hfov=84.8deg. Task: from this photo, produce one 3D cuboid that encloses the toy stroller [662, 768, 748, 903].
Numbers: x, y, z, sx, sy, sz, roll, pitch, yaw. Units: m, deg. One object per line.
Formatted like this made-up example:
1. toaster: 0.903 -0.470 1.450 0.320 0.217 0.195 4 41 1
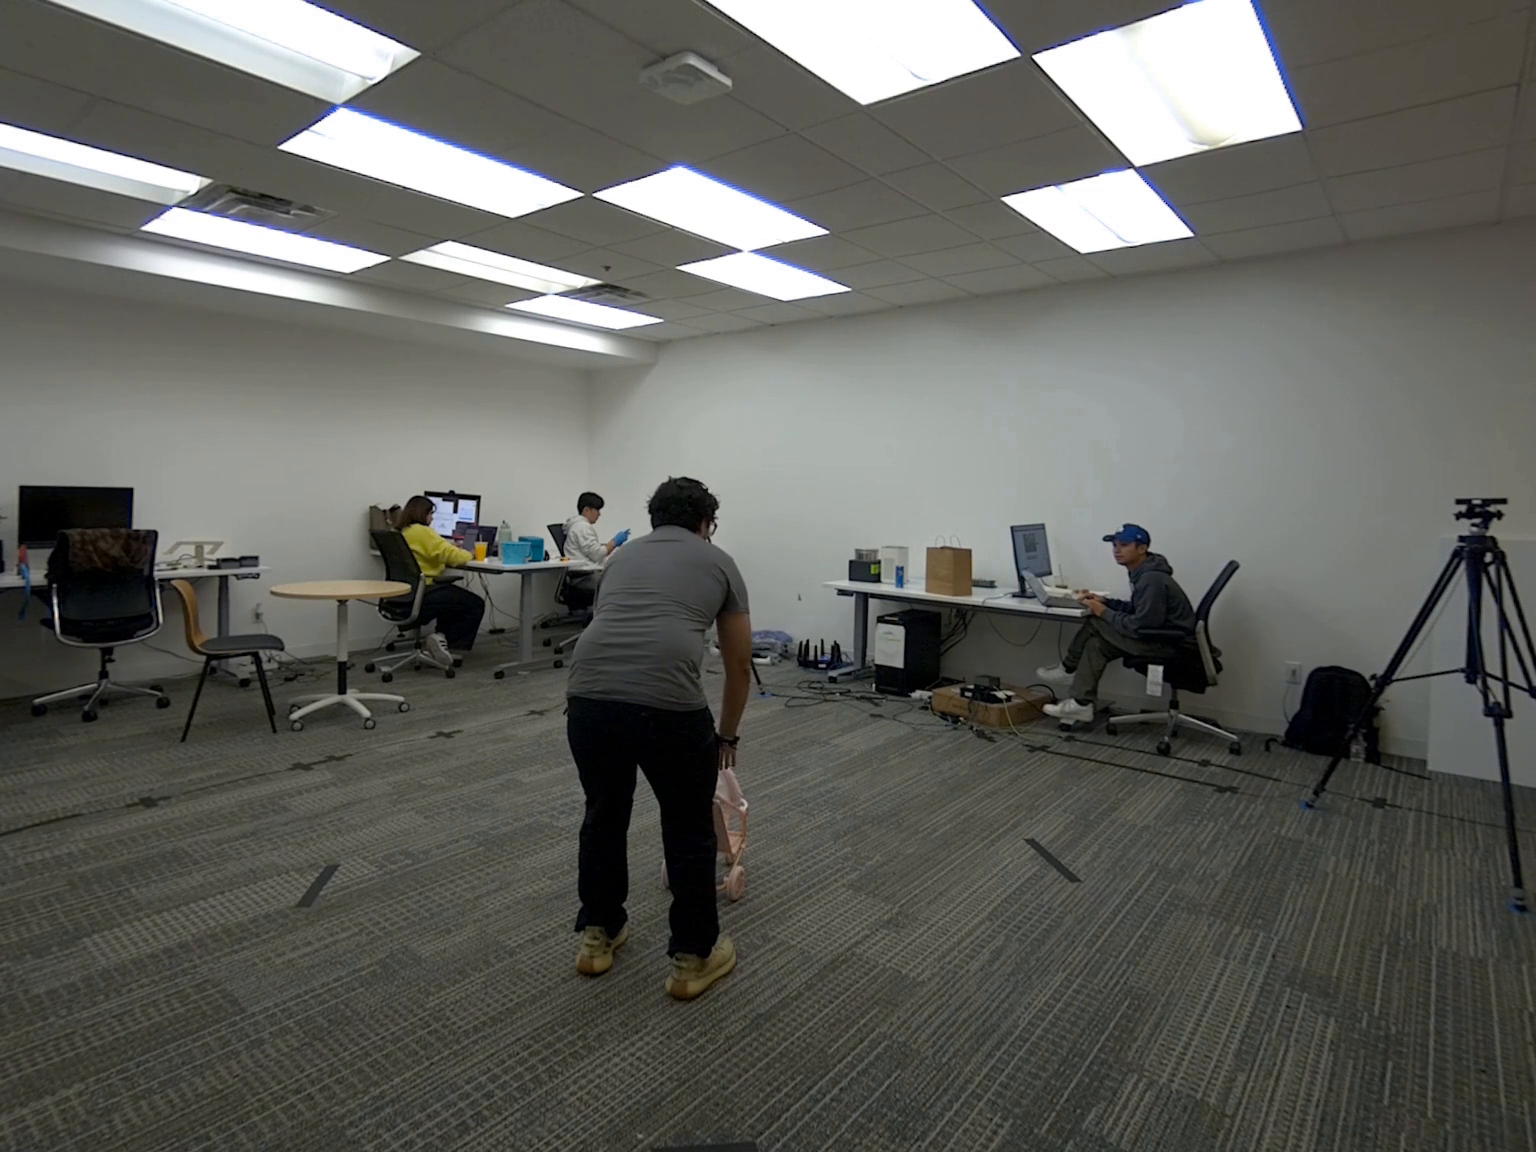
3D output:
1. toy stroller: -0.204 0.861 2.982 0.289 0.525 0.339 3 20 25
